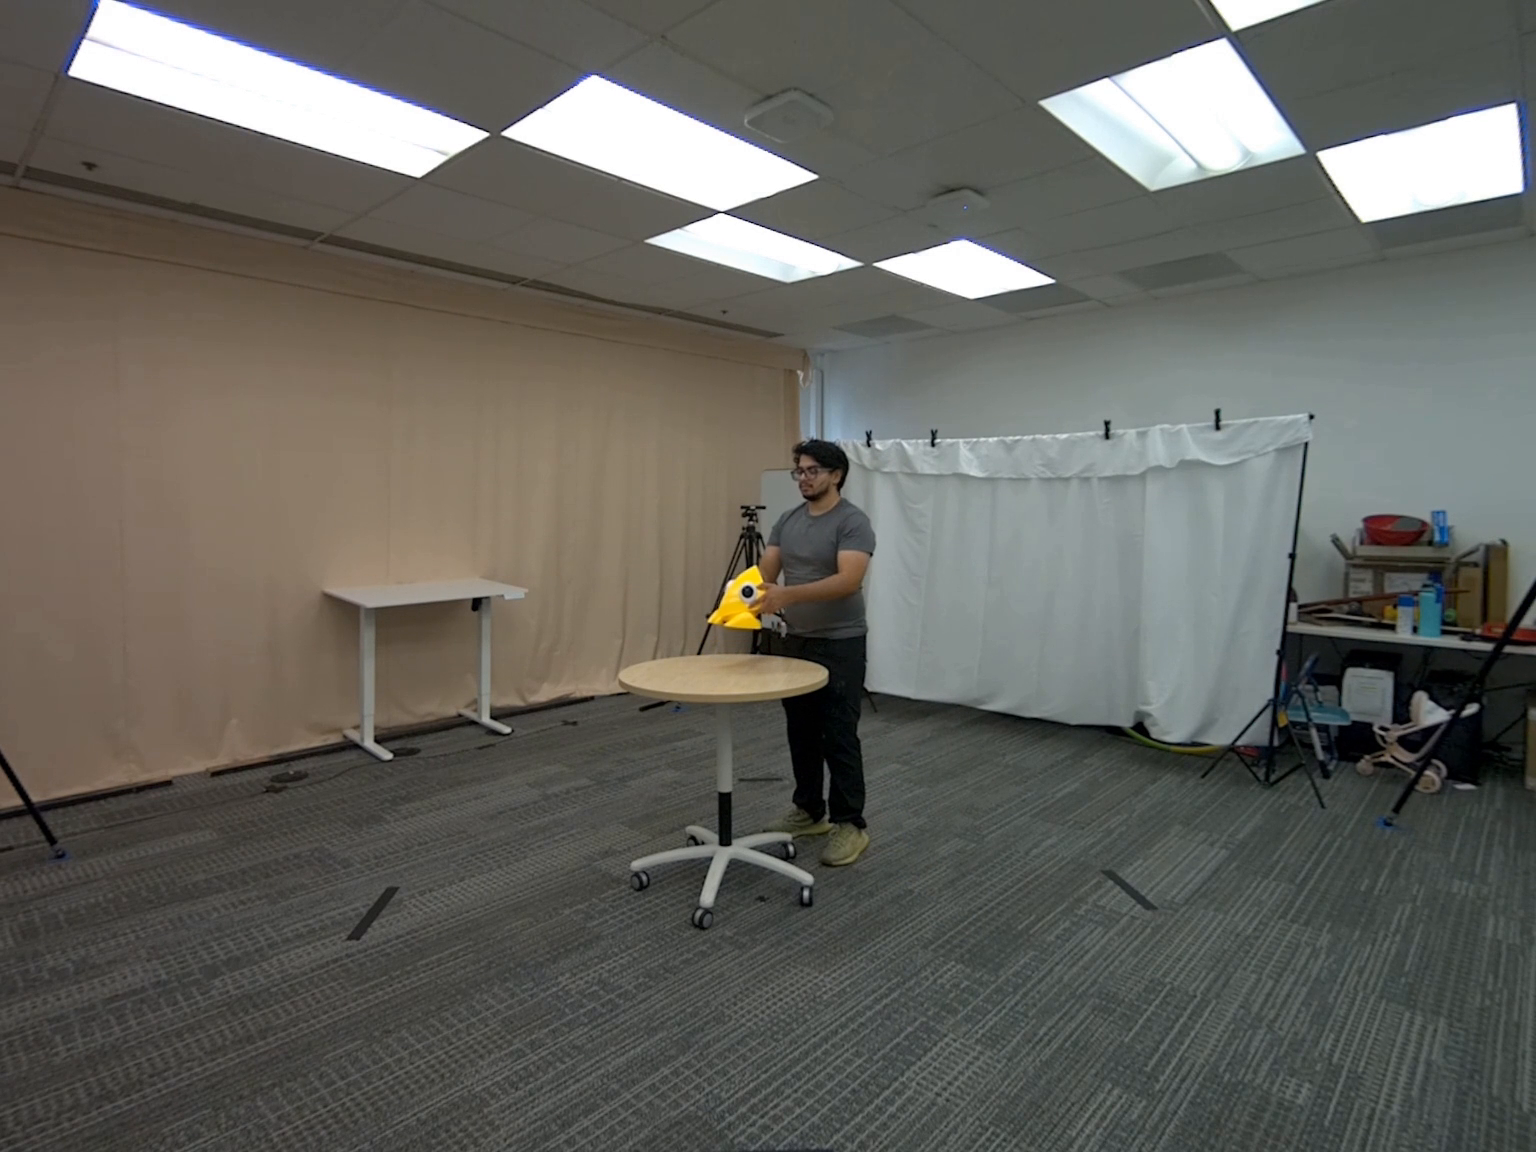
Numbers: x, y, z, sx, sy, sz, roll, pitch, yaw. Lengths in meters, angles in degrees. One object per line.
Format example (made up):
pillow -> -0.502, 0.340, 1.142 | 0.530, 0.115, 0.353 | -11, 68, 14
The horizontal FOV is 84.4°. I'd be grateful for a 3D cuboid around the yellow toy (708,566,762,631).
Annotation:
yellow toy -> -0.101, 0.073, 3.146 | 0.187, 0.231, 0.211 | 6, -1, -36
